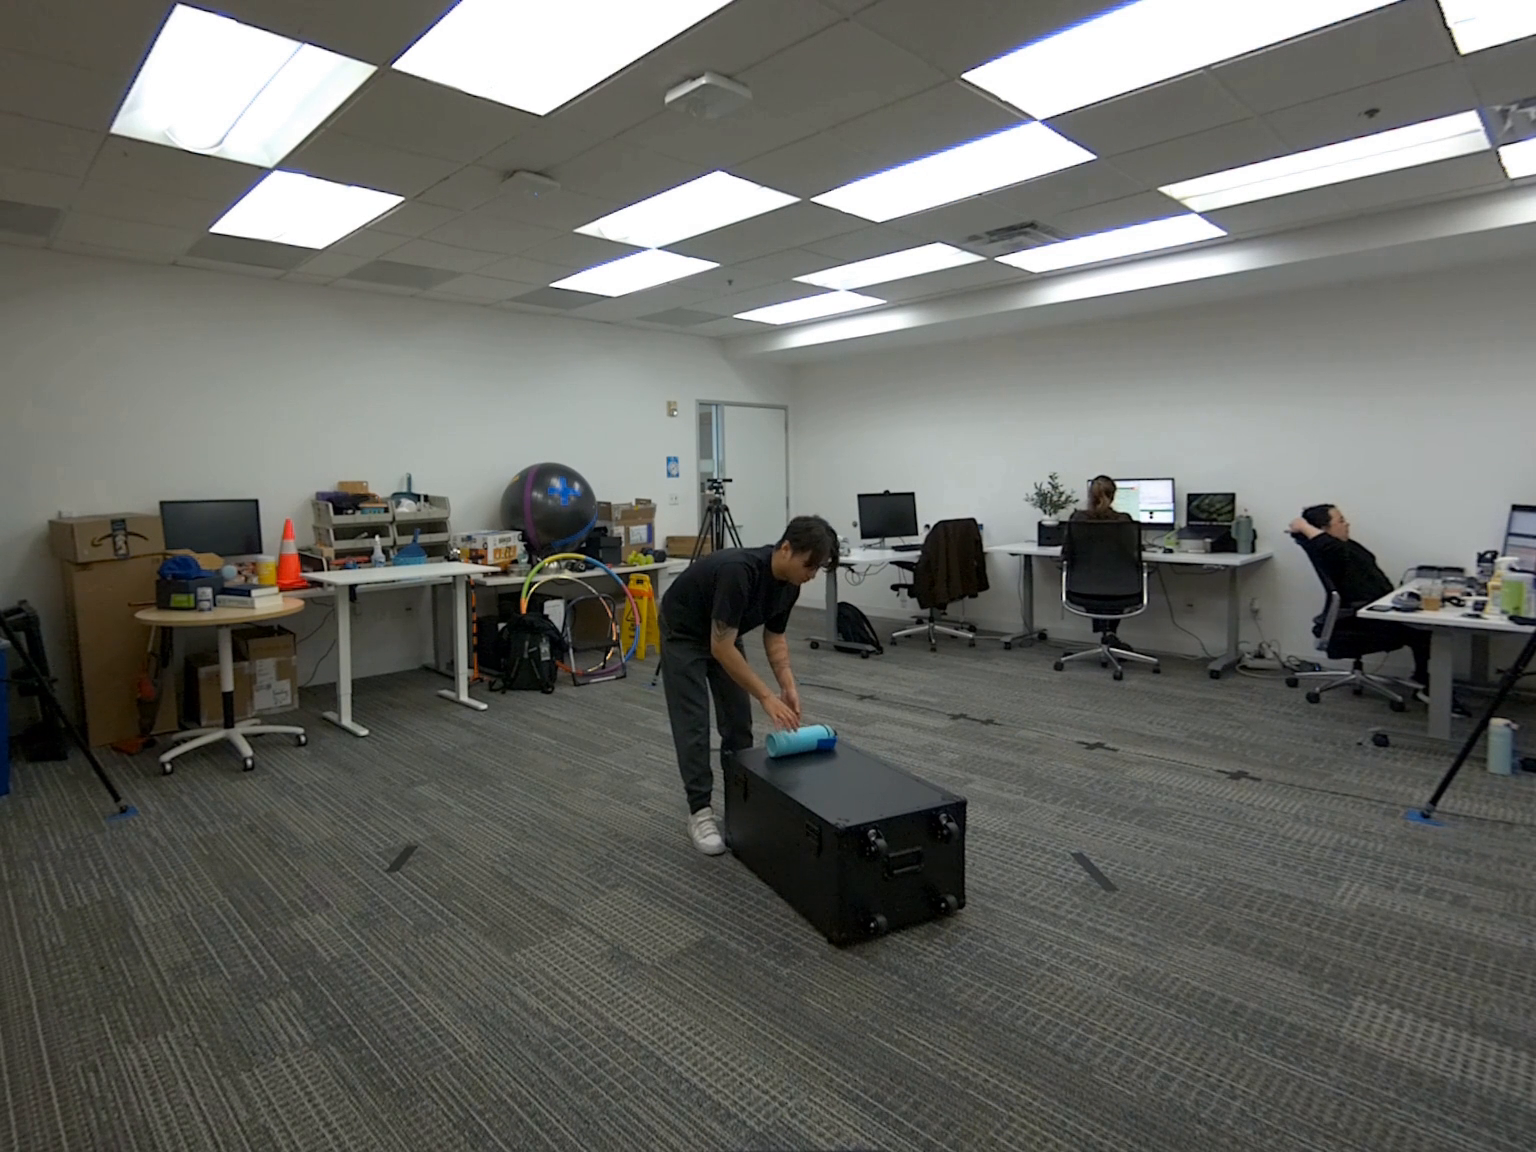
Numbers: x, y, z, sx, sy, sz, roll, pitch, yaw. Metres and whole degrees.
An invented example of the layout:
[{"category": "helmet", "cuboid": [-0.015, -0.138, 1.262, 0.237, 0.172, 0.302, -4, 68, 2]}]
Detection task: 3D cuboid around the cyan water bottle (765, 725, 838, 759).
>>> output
[{"category": "cyan water bottle", "cuboid": [0.132, 0.611, 3.189, 0.277, 0.092, 0.095, -3, 5, -27]}]
